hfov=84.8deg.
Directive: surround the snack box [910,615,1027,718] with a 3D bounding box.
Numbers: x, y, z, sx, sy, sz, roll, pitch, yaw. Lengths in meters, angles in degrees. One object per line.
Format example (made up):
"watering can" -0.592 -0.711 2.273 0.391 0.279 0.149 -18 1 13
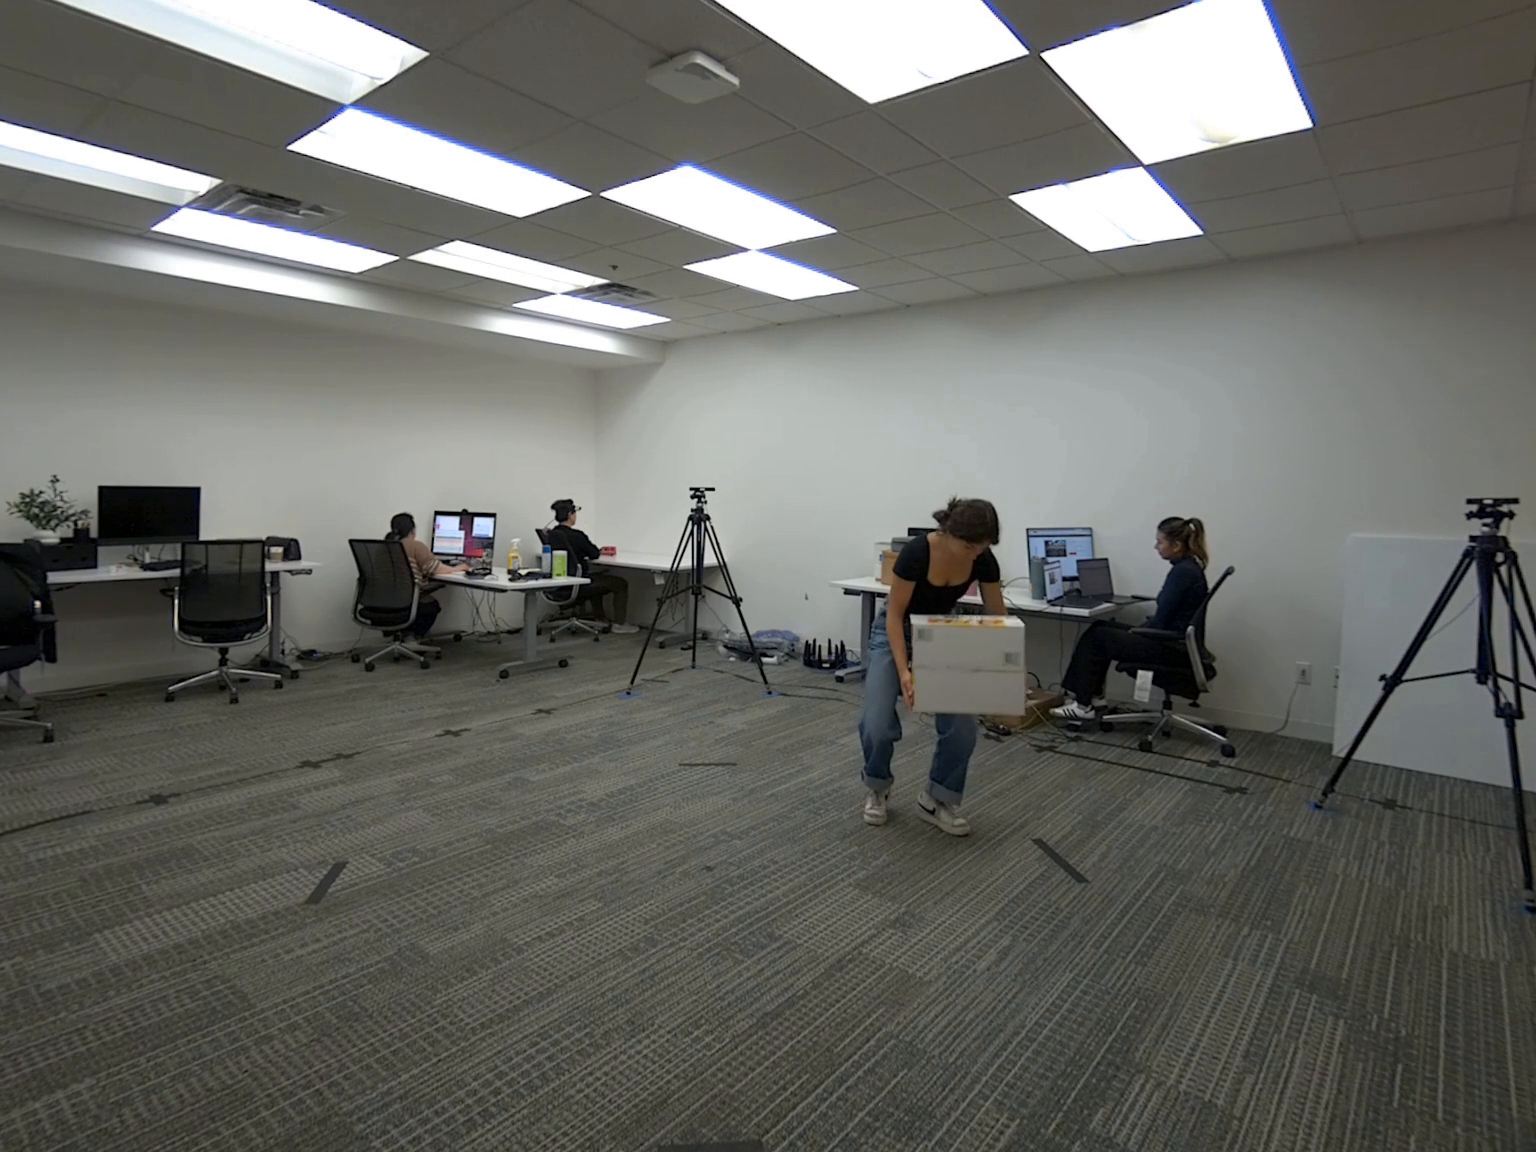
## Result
"snack box" 0.749 0.334 3.241 0.410 0.339 0.204 0 5 12
